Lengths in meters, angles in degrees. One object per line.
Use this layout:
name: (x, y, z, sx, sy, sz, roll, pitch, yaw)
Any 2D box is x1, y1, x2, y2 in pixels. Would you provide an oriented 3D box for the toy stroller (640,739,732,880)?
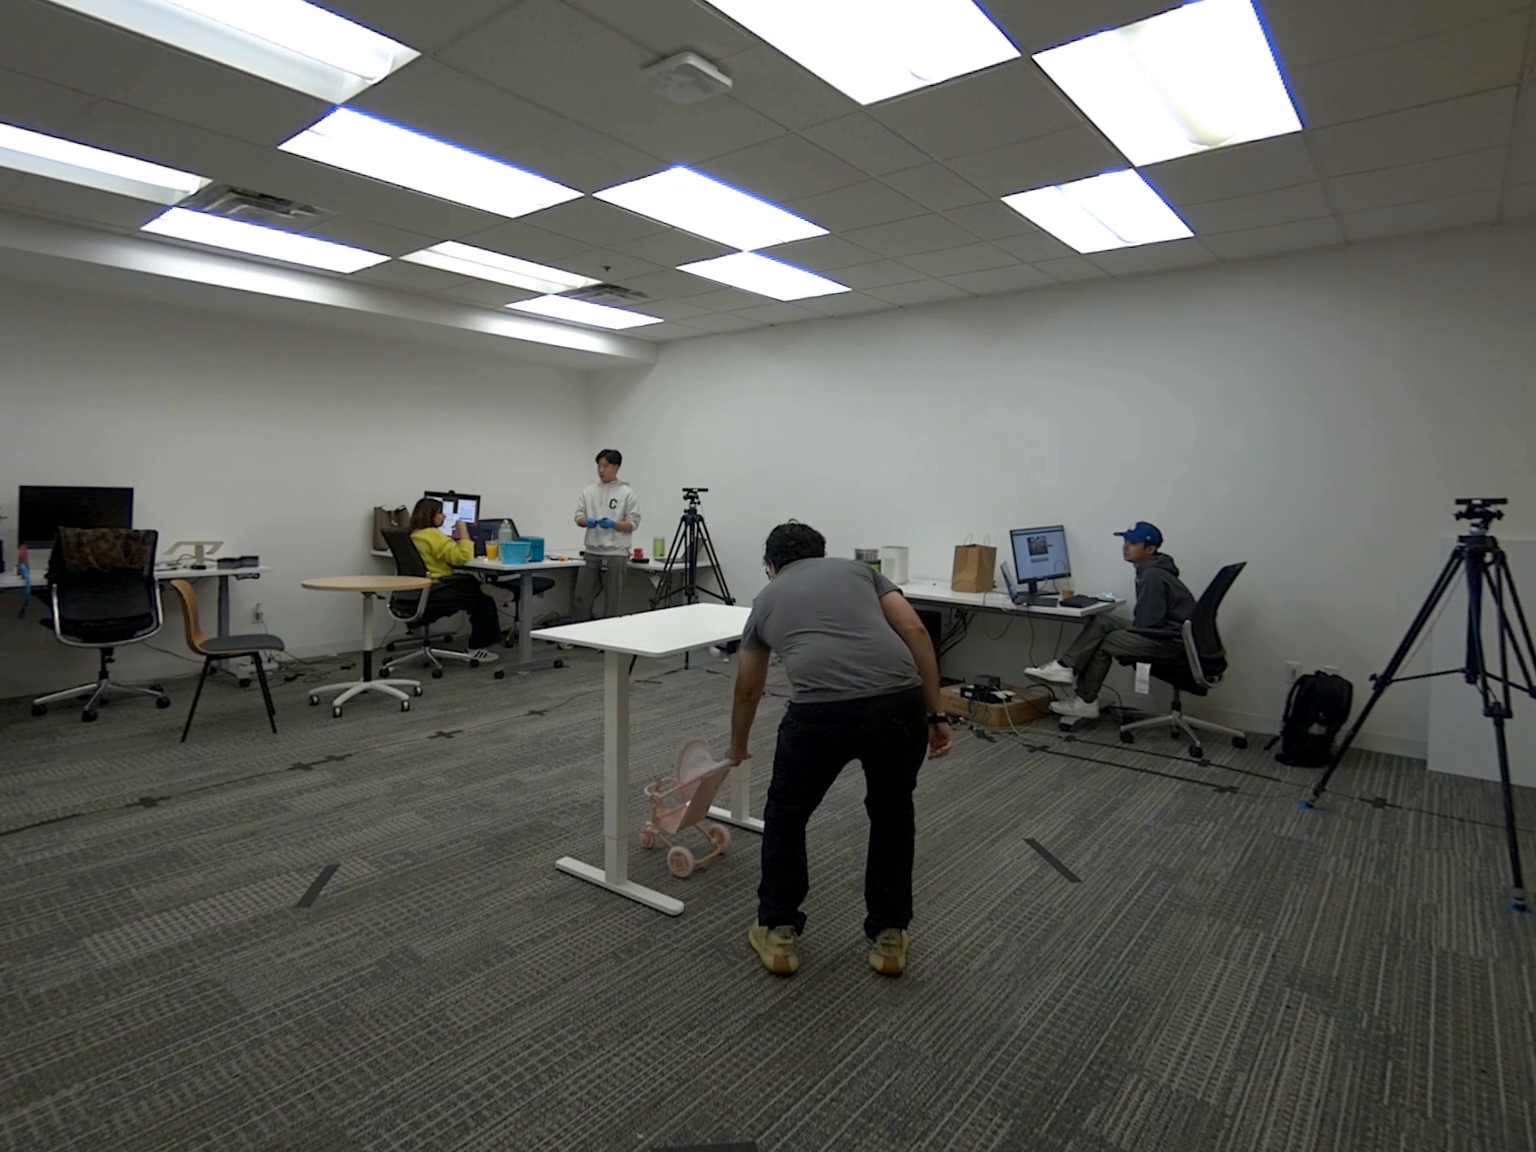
toy stroller: (-0.308, 0.836, 3.177, 0.354, 0.531, 0.273, 22, 14, 34)
